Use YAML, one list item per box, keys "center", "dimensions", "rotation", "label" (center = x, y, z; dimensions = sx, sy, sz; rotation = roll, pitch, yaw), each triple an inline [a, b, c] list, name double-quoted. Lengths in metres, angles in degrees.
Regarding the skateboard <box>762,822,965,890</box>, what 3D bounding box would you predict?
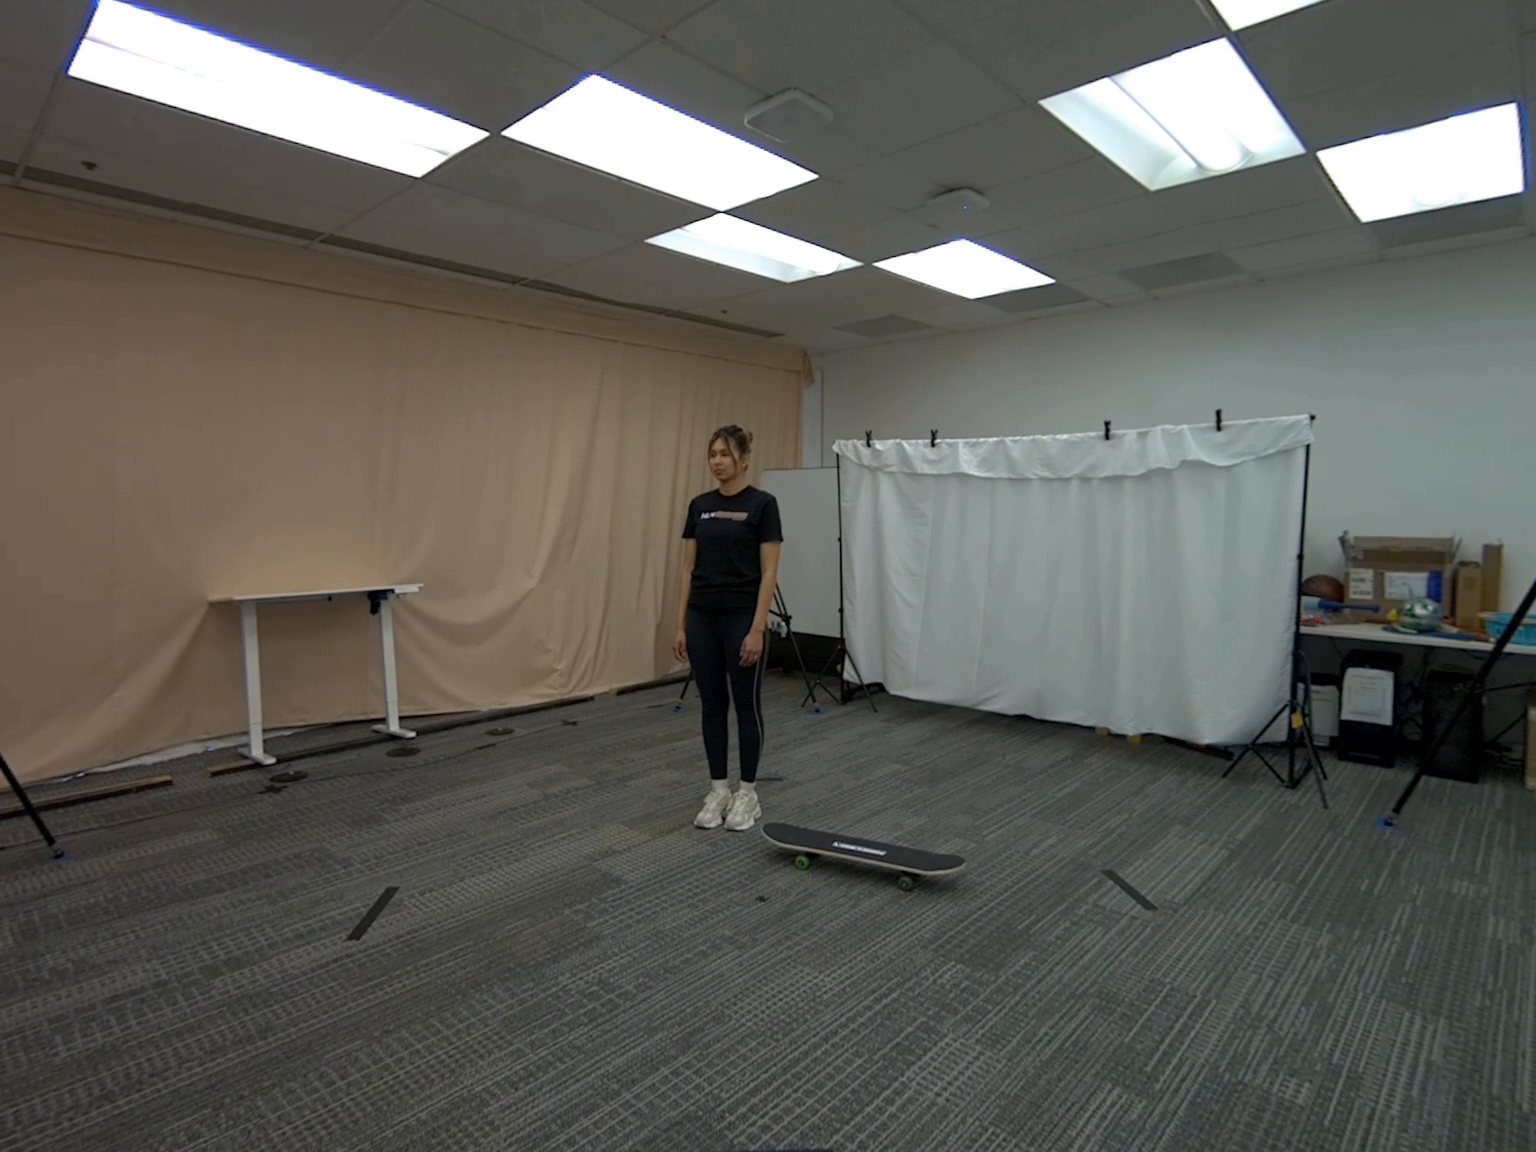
- center: [0.352, 1.066, 3.201]
  dimensions: [0.806, 0.110, 0.189]
  rotation: [2, 4, 26]
  label: "skateboard"
